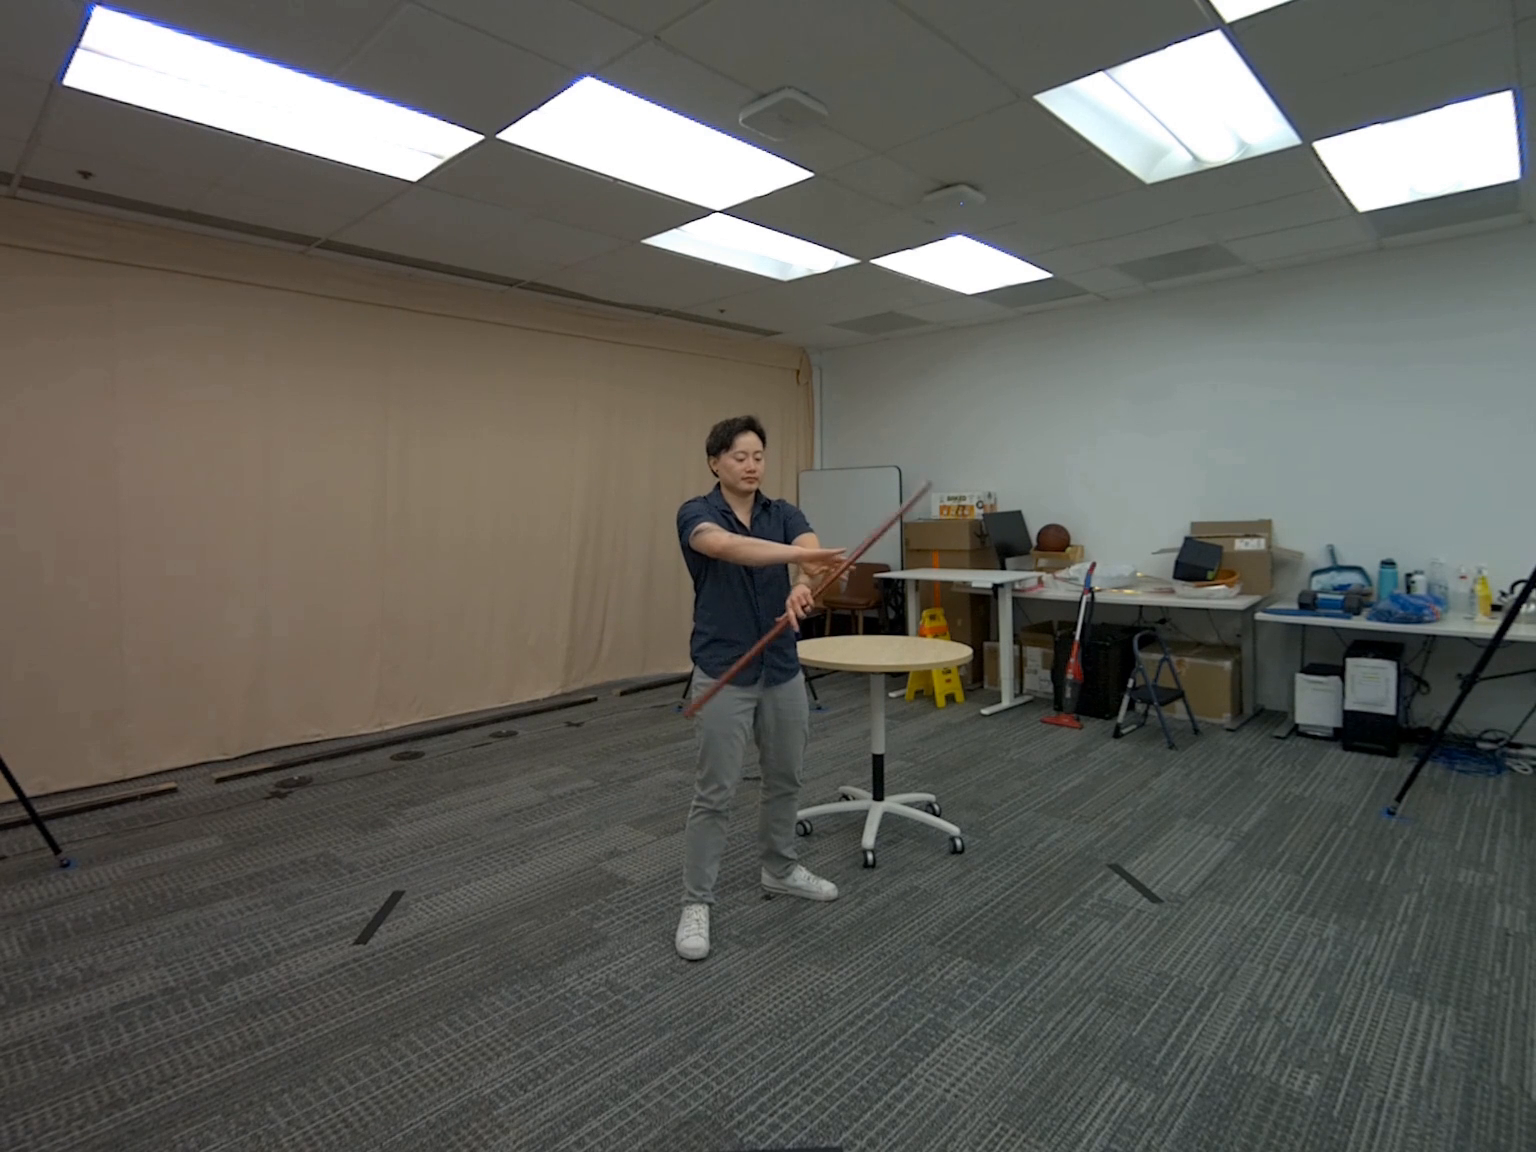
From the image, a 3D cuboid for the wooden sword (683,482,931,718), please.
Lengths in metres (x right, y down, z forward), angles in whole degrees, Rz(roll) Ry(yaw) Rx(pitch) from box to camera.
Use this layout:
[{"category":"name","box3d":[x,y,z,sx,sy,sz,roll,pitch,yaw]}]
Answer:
[{"category":"wooden sword","box3d":[0.111,0.082,2.449,0.053,1.021,0.023,39,-12,42]}]
